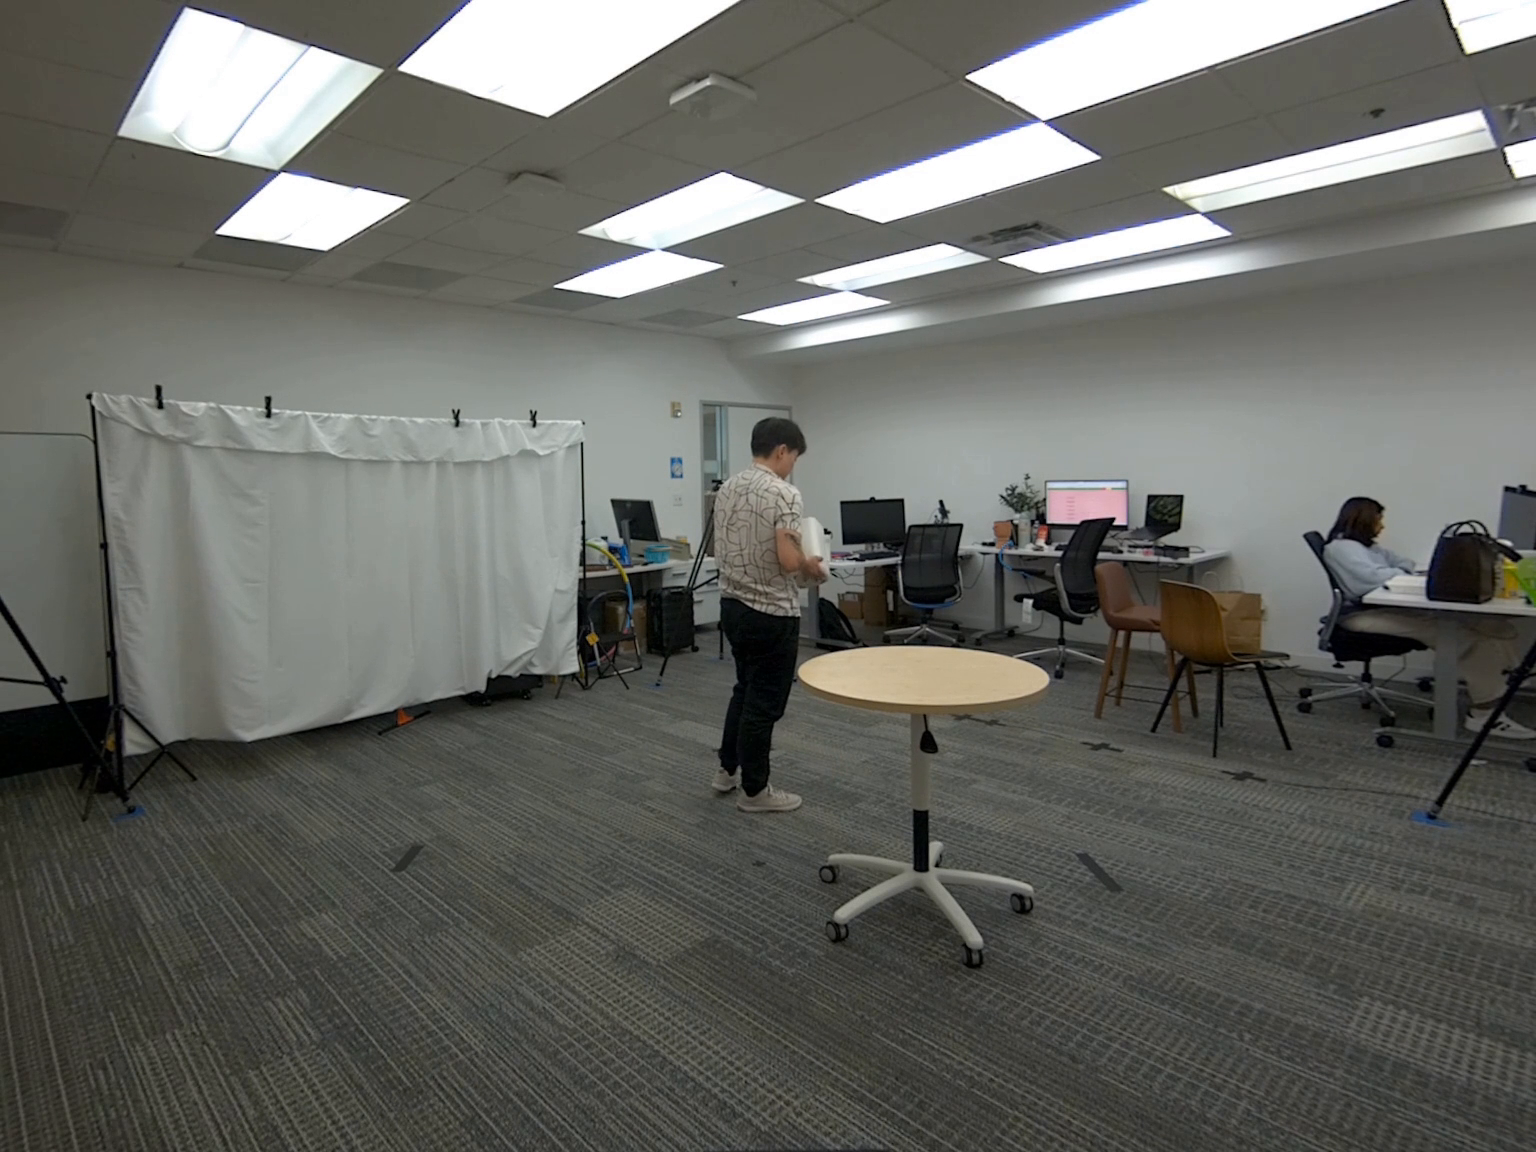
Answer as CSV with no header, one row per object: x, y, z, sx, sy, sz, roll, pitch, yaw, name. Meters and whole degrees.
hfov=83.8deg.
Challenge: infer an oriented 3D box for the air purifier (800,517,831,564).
0.163,-0.100,3.723,0.173,0.272,0.165,-15,-35,15,air purifier
